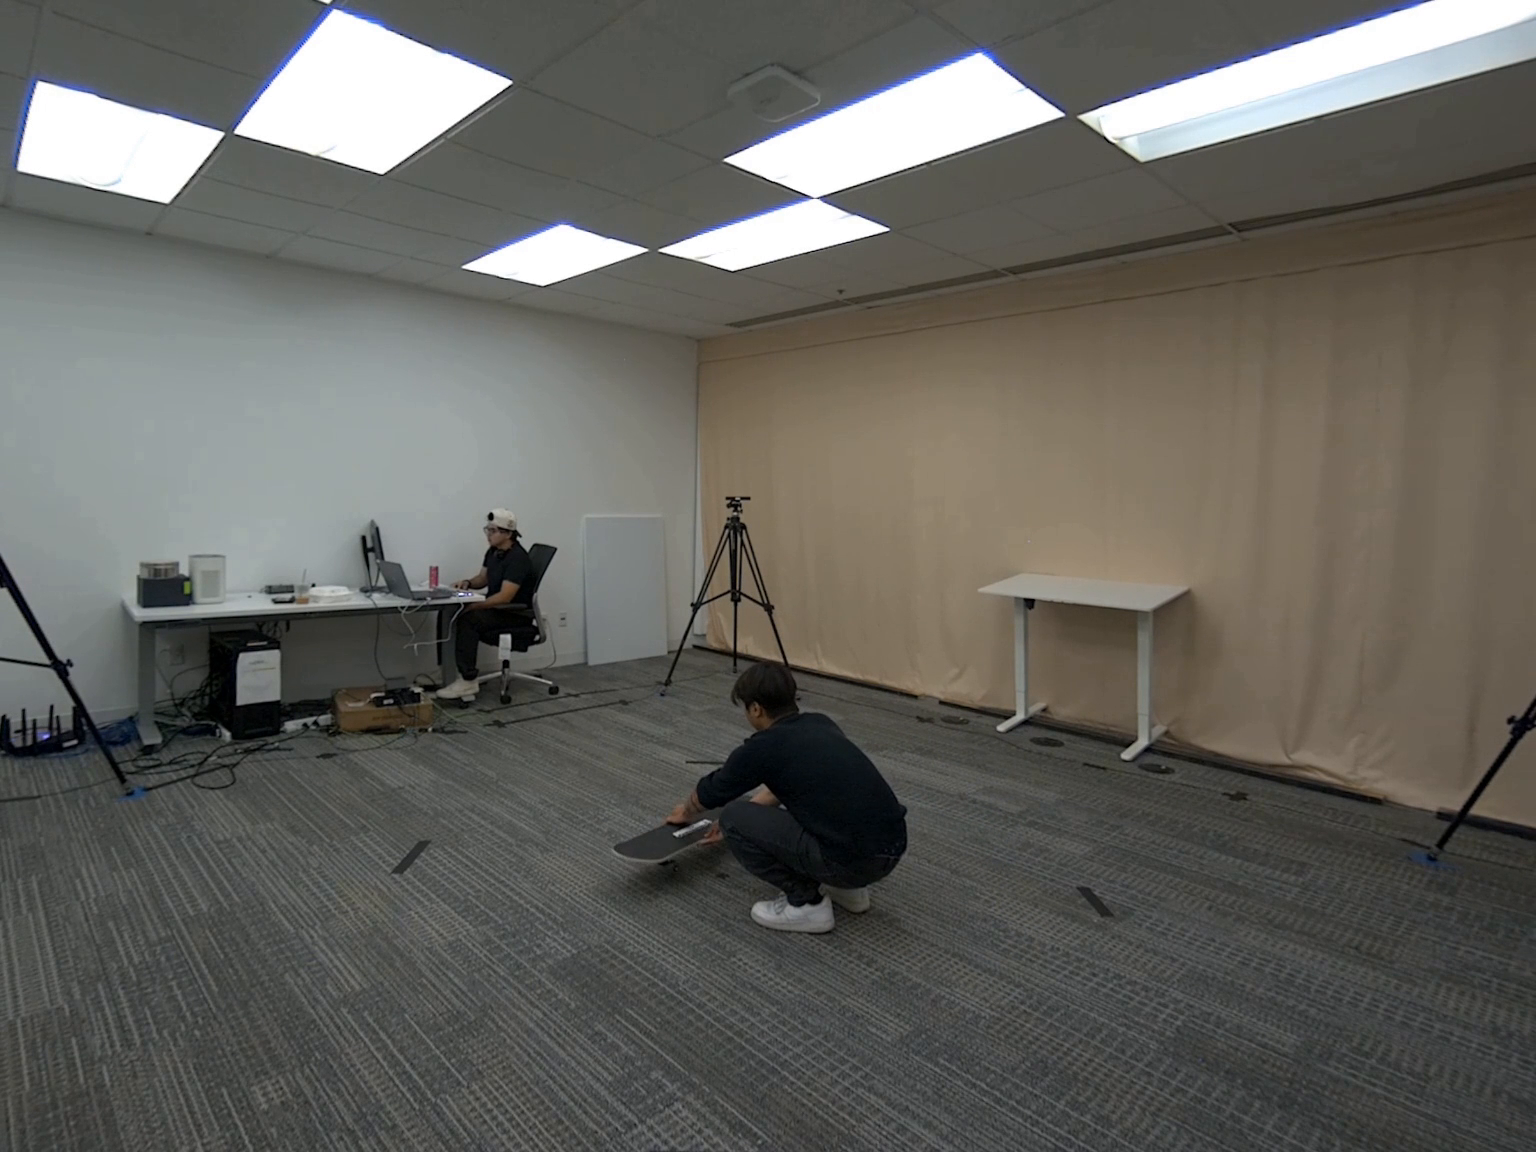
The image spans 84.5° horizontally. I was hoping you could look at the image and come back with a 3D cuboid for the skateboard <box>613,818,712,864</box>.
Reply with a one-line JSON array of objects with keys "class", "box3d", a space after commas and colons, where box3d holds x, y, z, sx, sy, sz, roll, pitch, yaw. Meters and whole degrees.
[{"class": "skateboard", "box3d": [-0.294, 0.998, 3.223, 0.198, 0.110, 0.768, 8, 7, 34]}]
